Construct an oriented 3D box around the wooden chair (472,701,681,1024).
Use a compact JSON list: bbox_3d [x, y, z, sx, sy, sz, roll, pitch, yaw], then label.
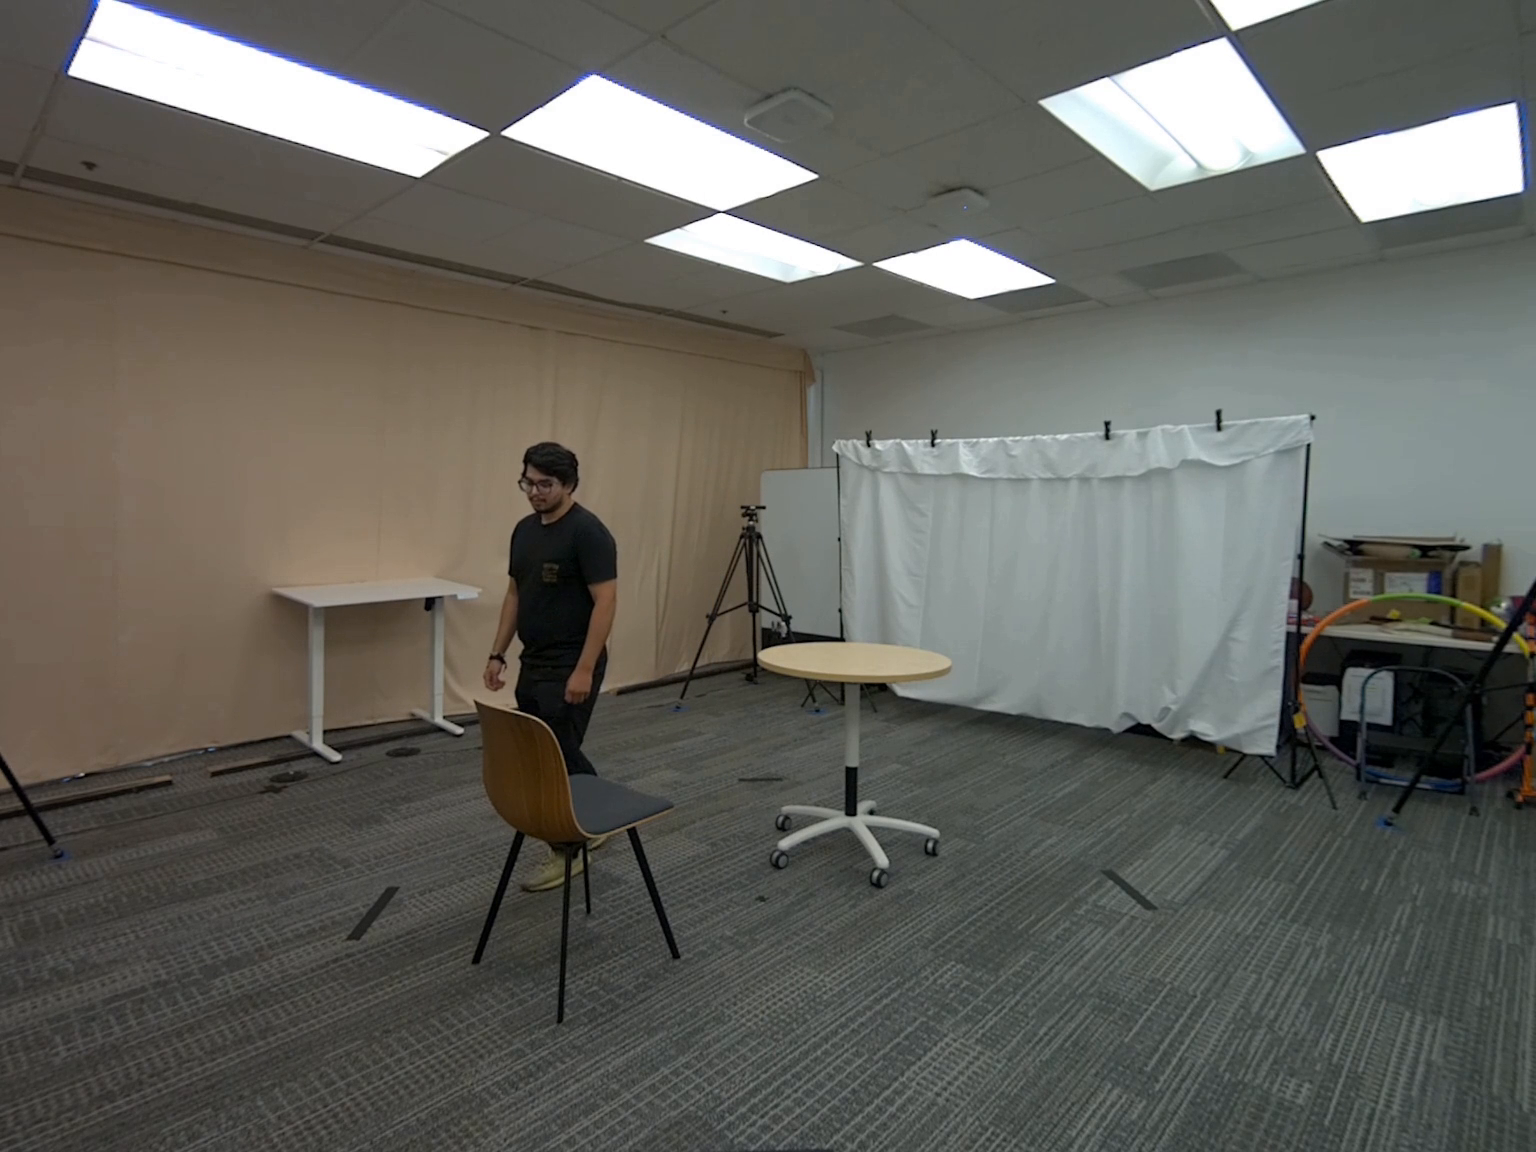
[{"bbox_3d":[-0.577,0.754,2.560,0.494,0.874,0.508,2,8,42],"label":"wooden chair"}]
